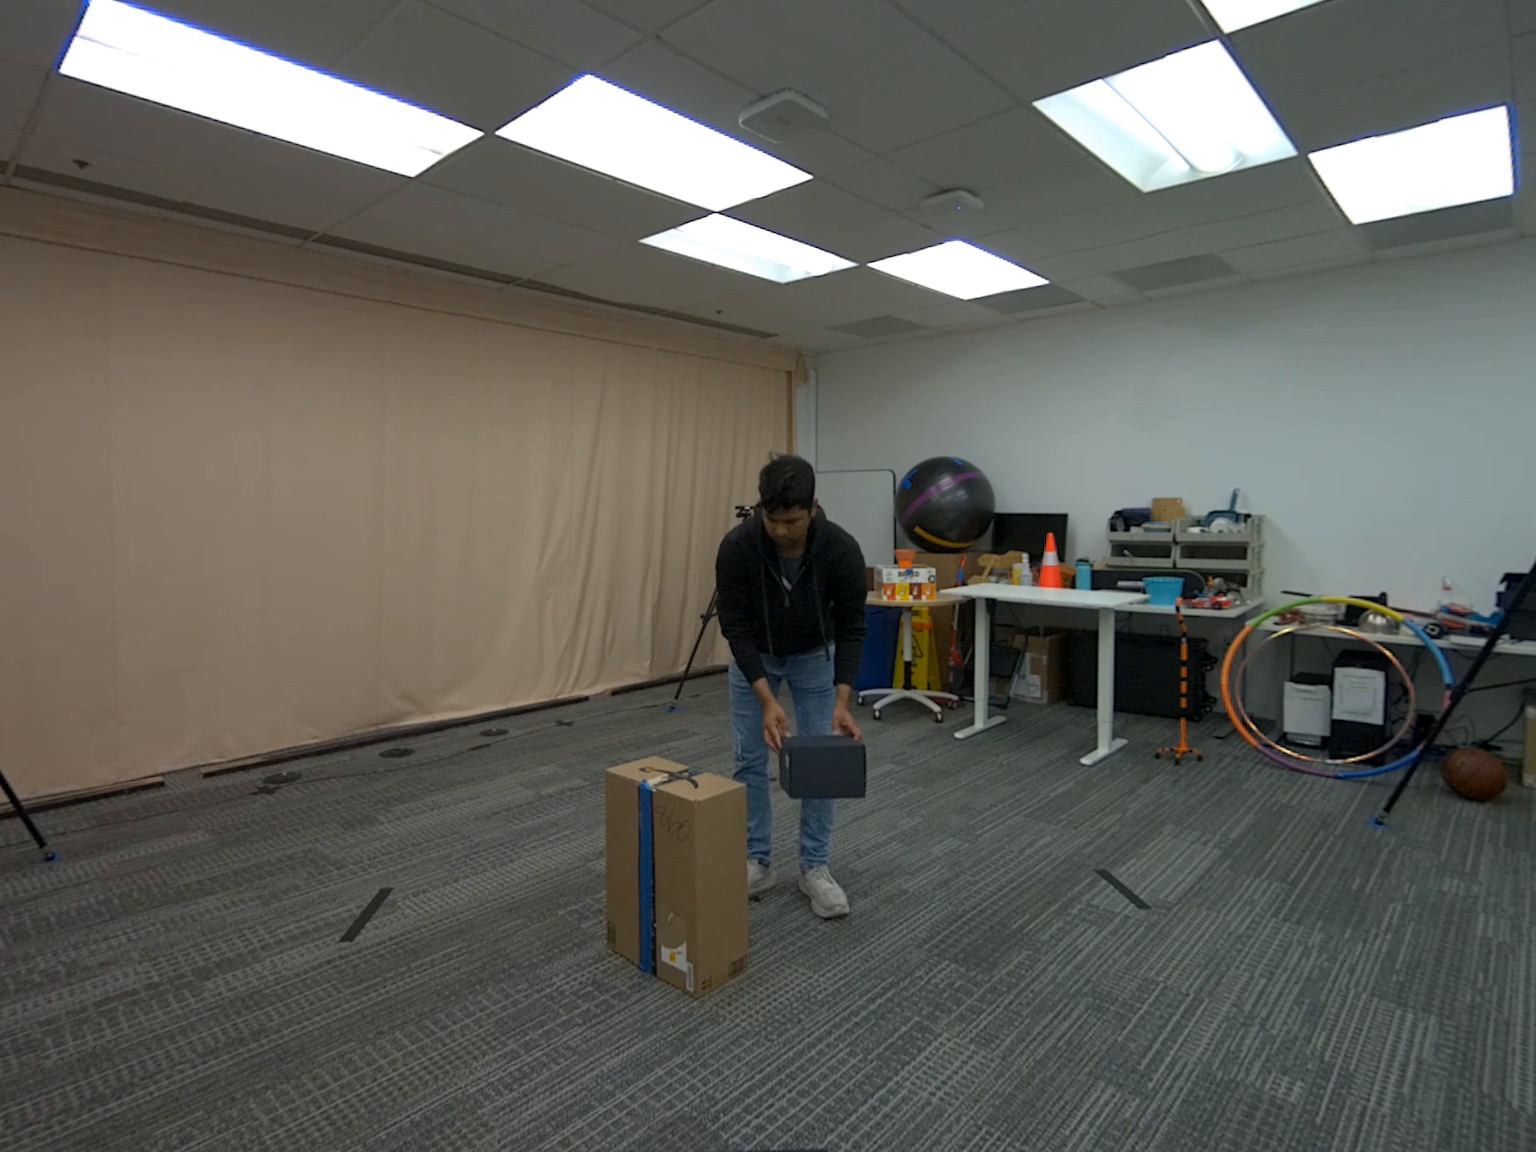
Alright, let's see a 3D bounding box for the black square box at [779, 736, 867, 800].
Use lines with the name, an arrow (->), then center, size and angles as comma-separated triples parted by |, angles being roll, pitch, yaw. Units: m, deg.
black square box -> 0.149, 0.590, 2.594 | 0.227, 0.156, 0.217 | 0, -3, -4
